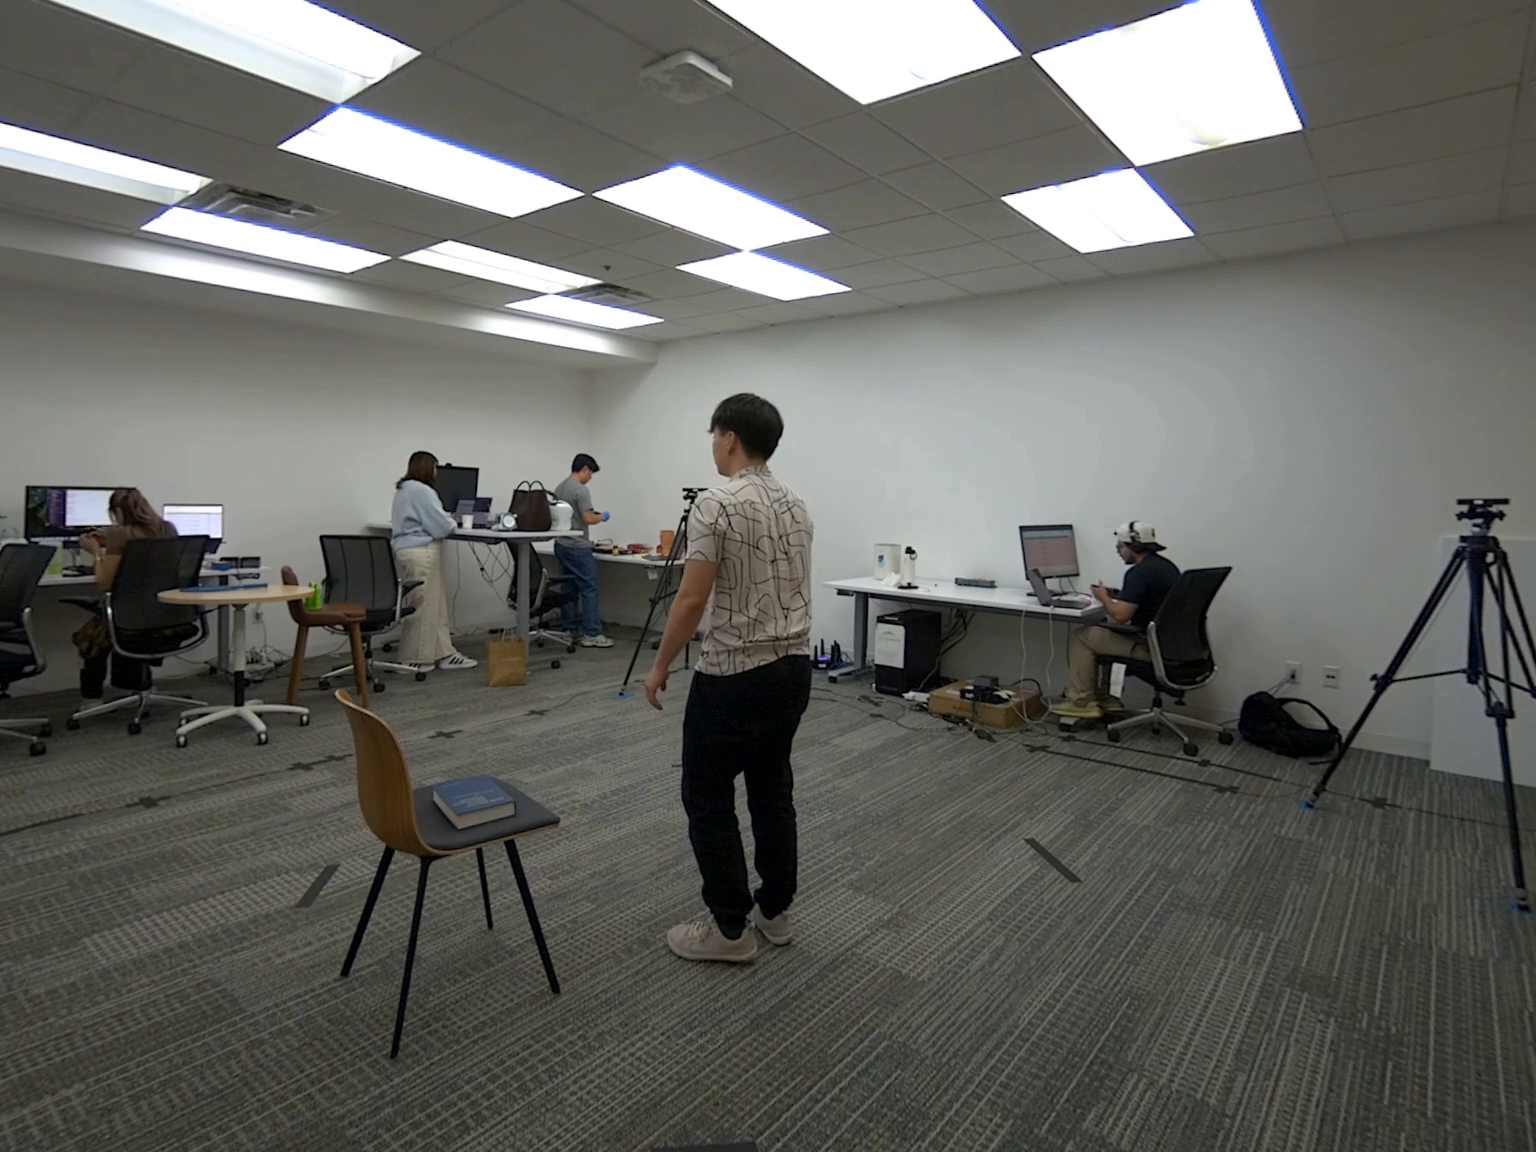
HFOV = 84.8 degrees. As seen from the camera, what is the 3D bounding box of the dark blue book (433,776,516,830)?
[{"bbox_3d":[-0.839,0.629,2.387,0.159,0.045,0.253,-6,10,-35],"label":"dark blue book"}]
